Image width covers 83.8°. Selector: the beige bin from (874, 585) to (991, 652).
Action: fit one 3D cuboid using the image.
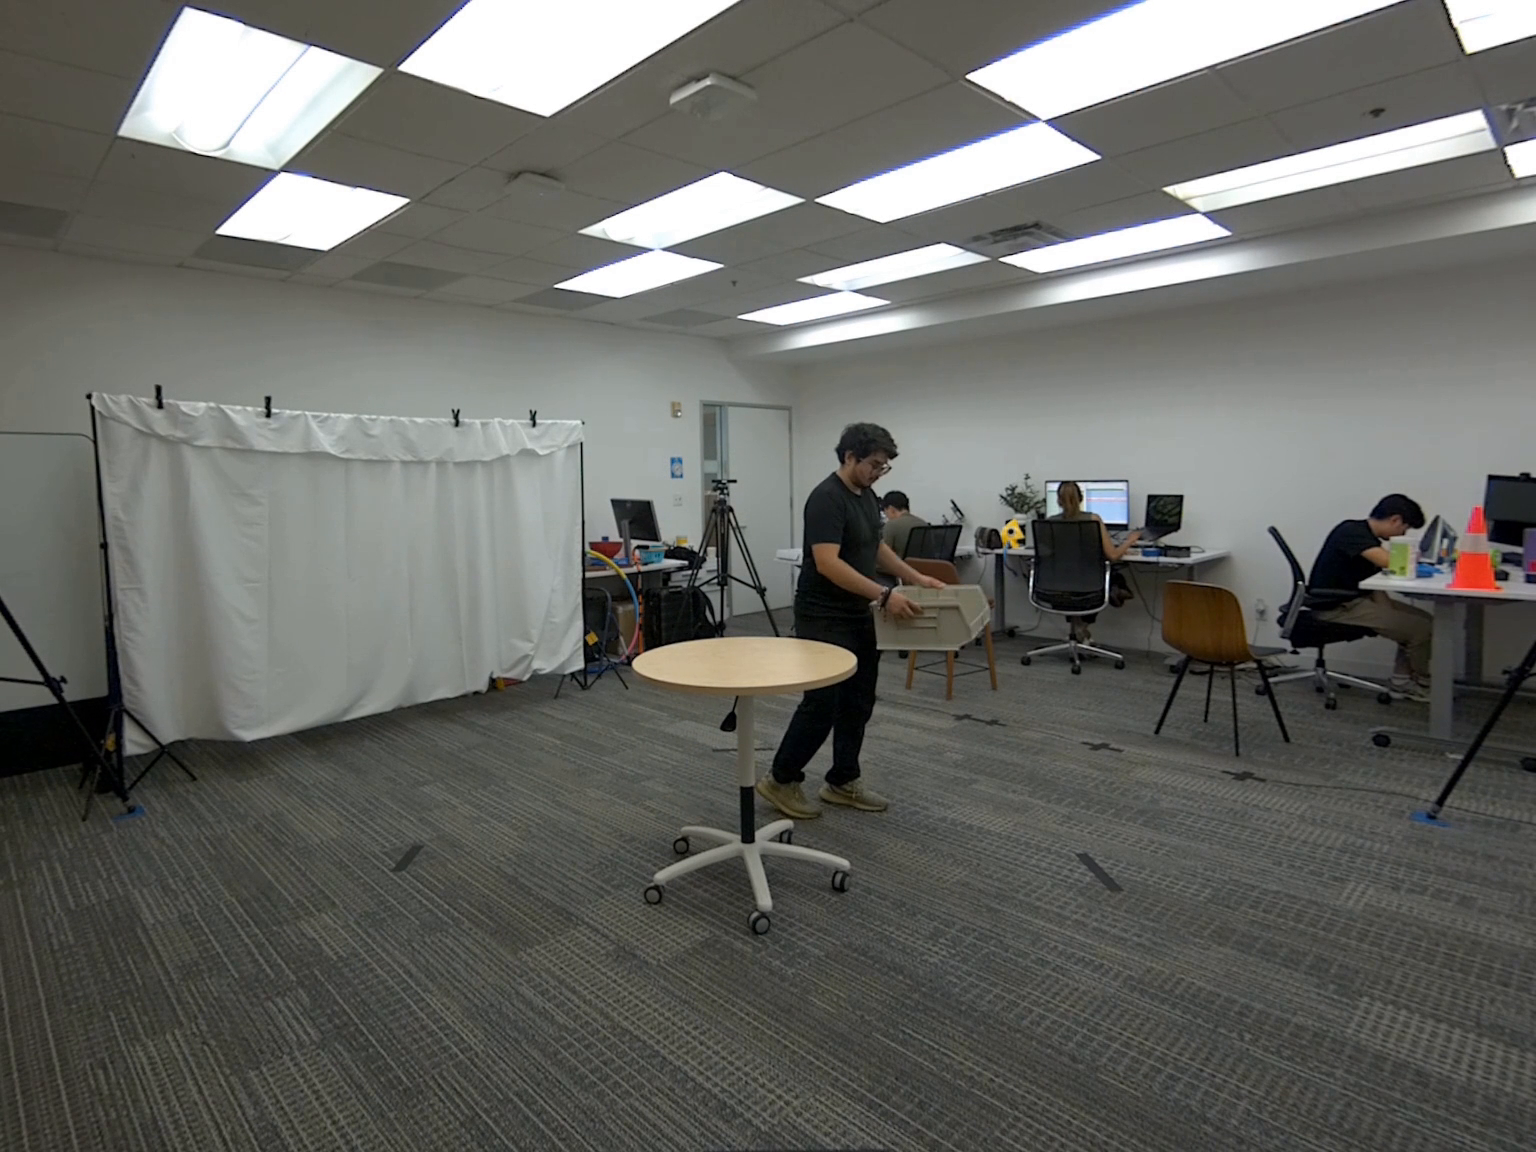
[{"bbox_3d":[0.646,0.158,3.398,0.385,0.188,0.416,-4,7,25],"label":"beige bin"}]
